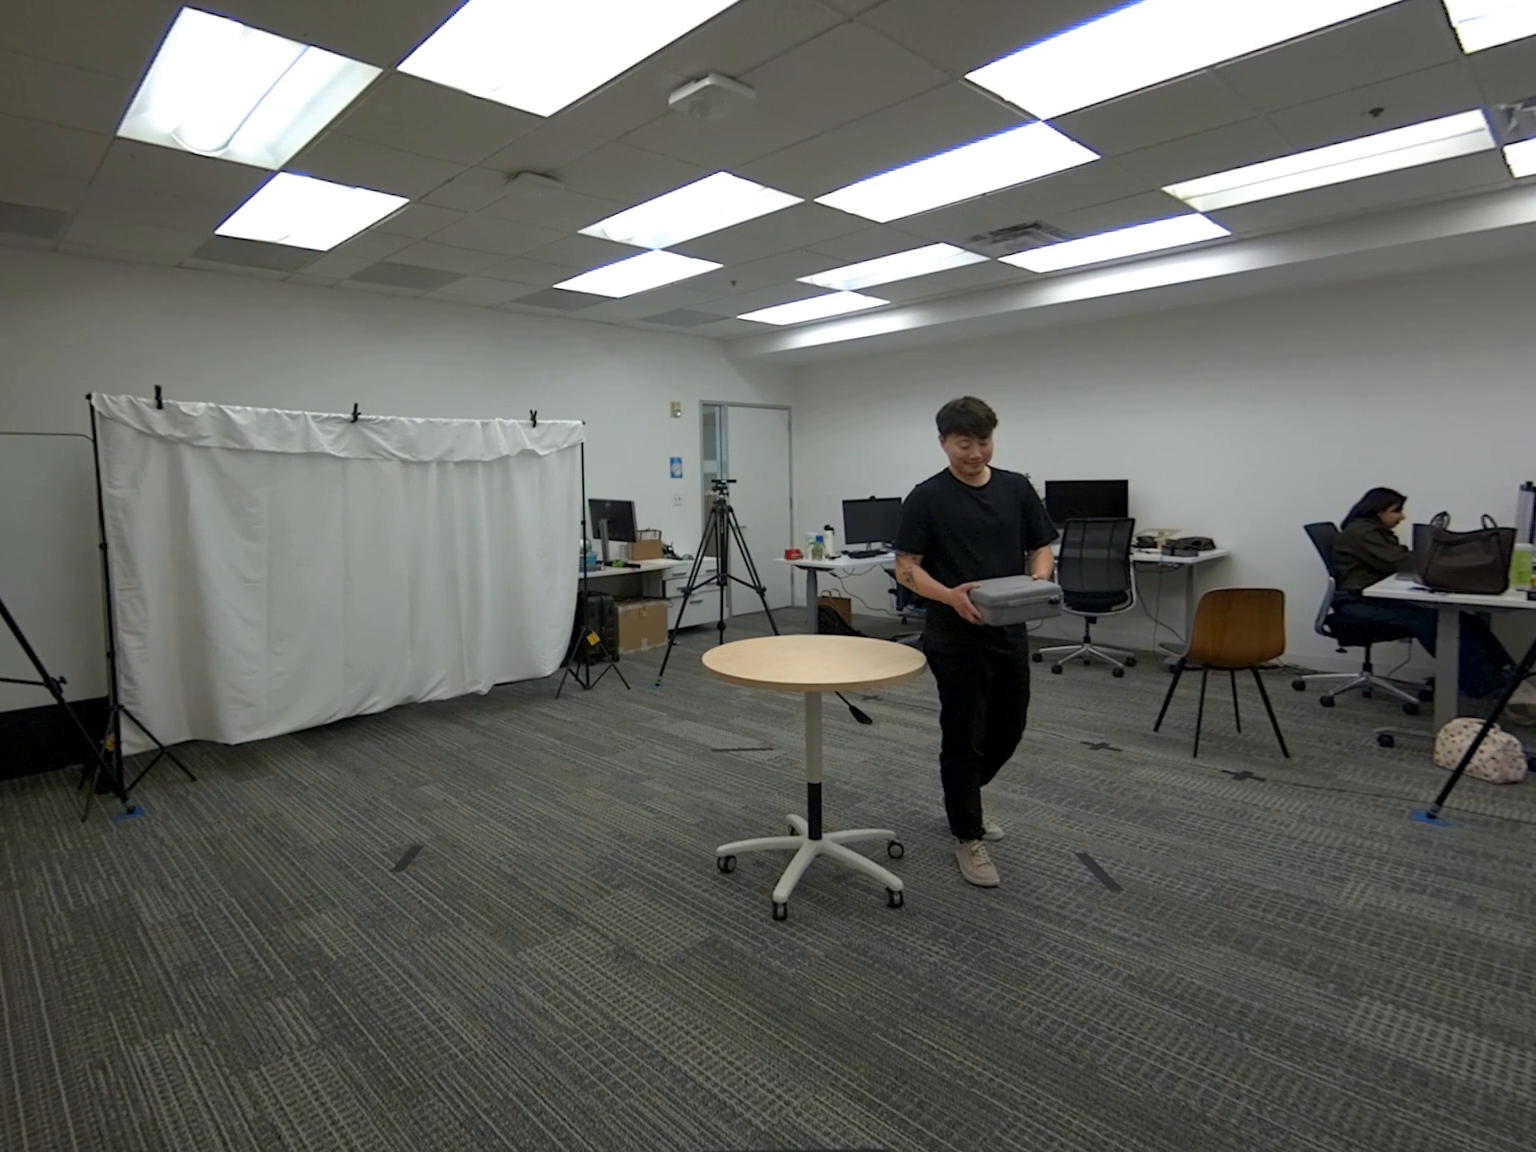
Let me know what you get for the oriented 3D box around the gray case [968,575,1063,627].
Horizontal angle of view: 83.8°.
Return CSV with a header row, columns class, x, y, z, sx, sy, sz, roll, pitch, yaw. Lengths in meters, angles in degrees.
class,x,y,z,sx,sy,sz,roll,pitch,yaw
gray case,0.779,0.081,2.759,0.255,0.103,0.264,-7,8,-10
